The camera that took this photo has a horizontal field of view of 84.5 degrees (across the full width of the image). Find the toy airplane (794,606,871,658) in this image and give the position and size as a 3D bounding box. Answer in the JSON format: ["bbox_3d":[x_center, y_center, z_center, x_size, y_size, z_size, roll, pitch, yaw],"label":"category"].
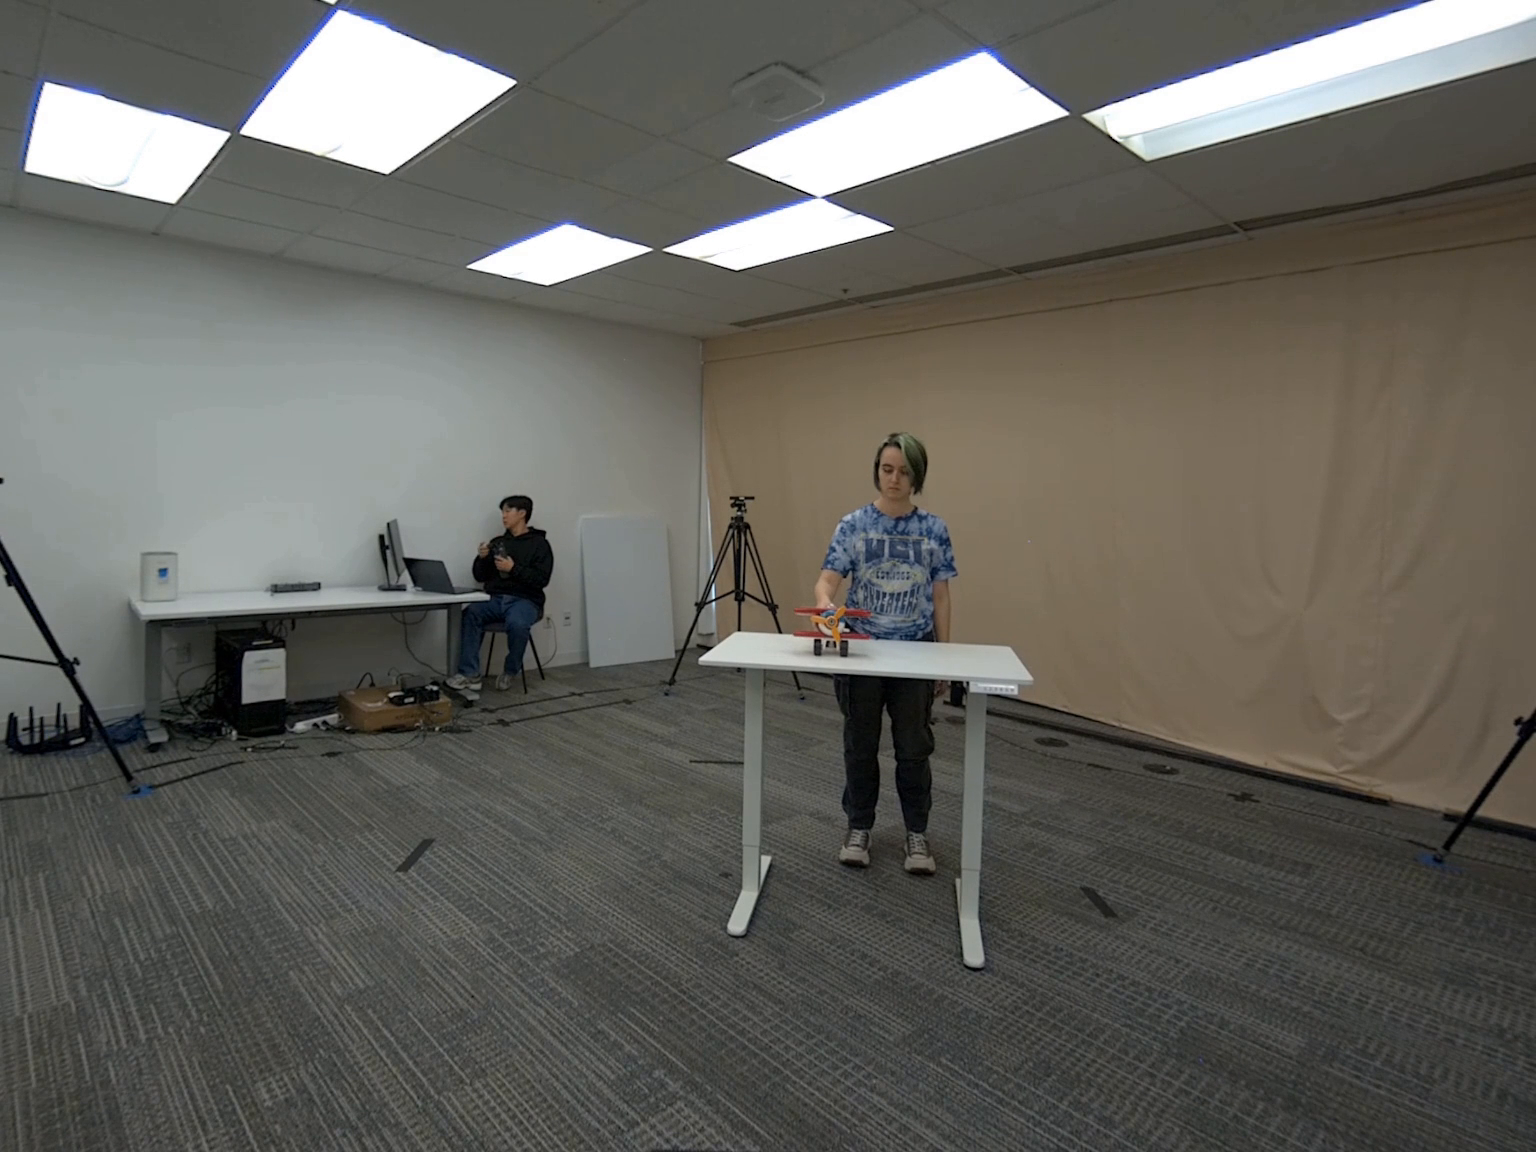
[{"bbox_3d":[0.193,0.178,2.836,0.247,0.156,0.264,-1,6,-22],"label":"toy airplane"}]
